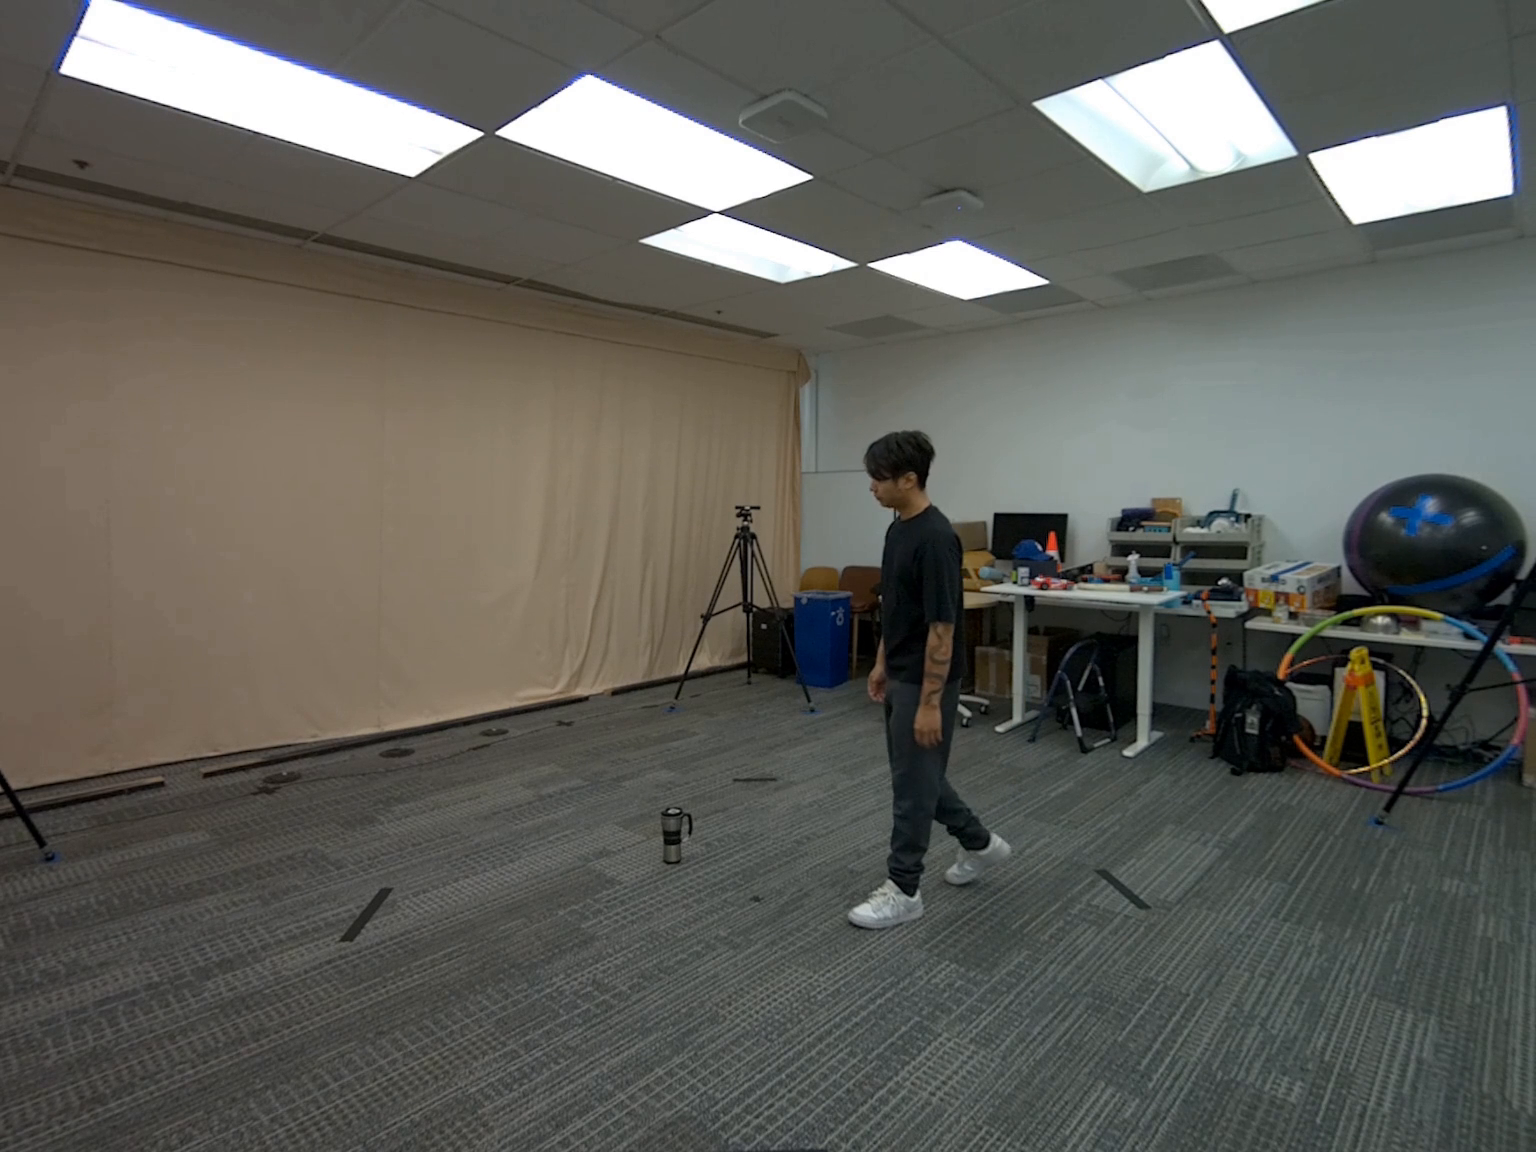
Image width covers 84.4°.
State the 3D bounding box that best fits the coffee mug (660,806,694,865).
[{"bbox_3d":[-0.364,1.019,3.285,0.085,0.203,0.126,0,-4,-44],"label":"coffee mug"}]
